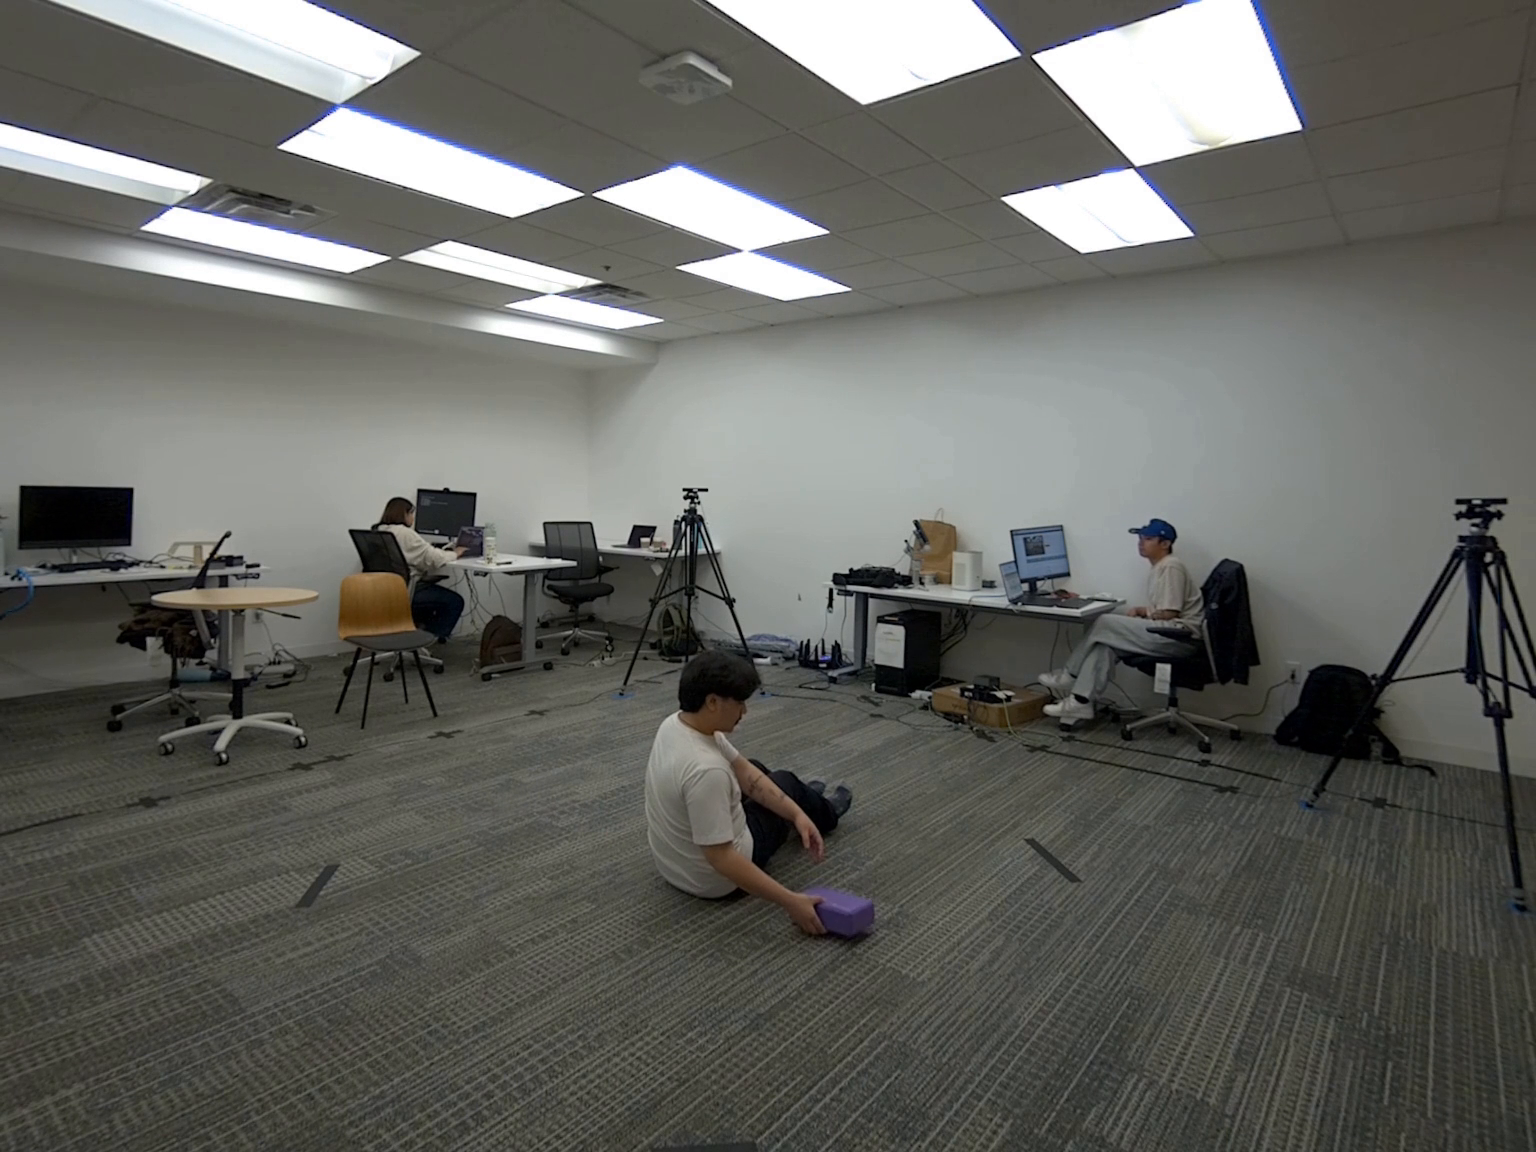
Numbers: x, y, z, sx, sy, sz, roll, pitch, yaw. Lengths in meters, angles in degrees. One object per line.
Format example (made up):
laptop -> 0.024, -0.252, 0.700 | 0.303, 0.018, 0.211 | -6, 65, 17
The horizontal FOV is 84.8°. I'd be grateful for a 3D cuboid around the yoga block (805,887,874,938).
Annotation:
yoga block -> 0.203, 1.059, 2.706 | 0.236, 0.076, 0.144 | 0, -1, 34
